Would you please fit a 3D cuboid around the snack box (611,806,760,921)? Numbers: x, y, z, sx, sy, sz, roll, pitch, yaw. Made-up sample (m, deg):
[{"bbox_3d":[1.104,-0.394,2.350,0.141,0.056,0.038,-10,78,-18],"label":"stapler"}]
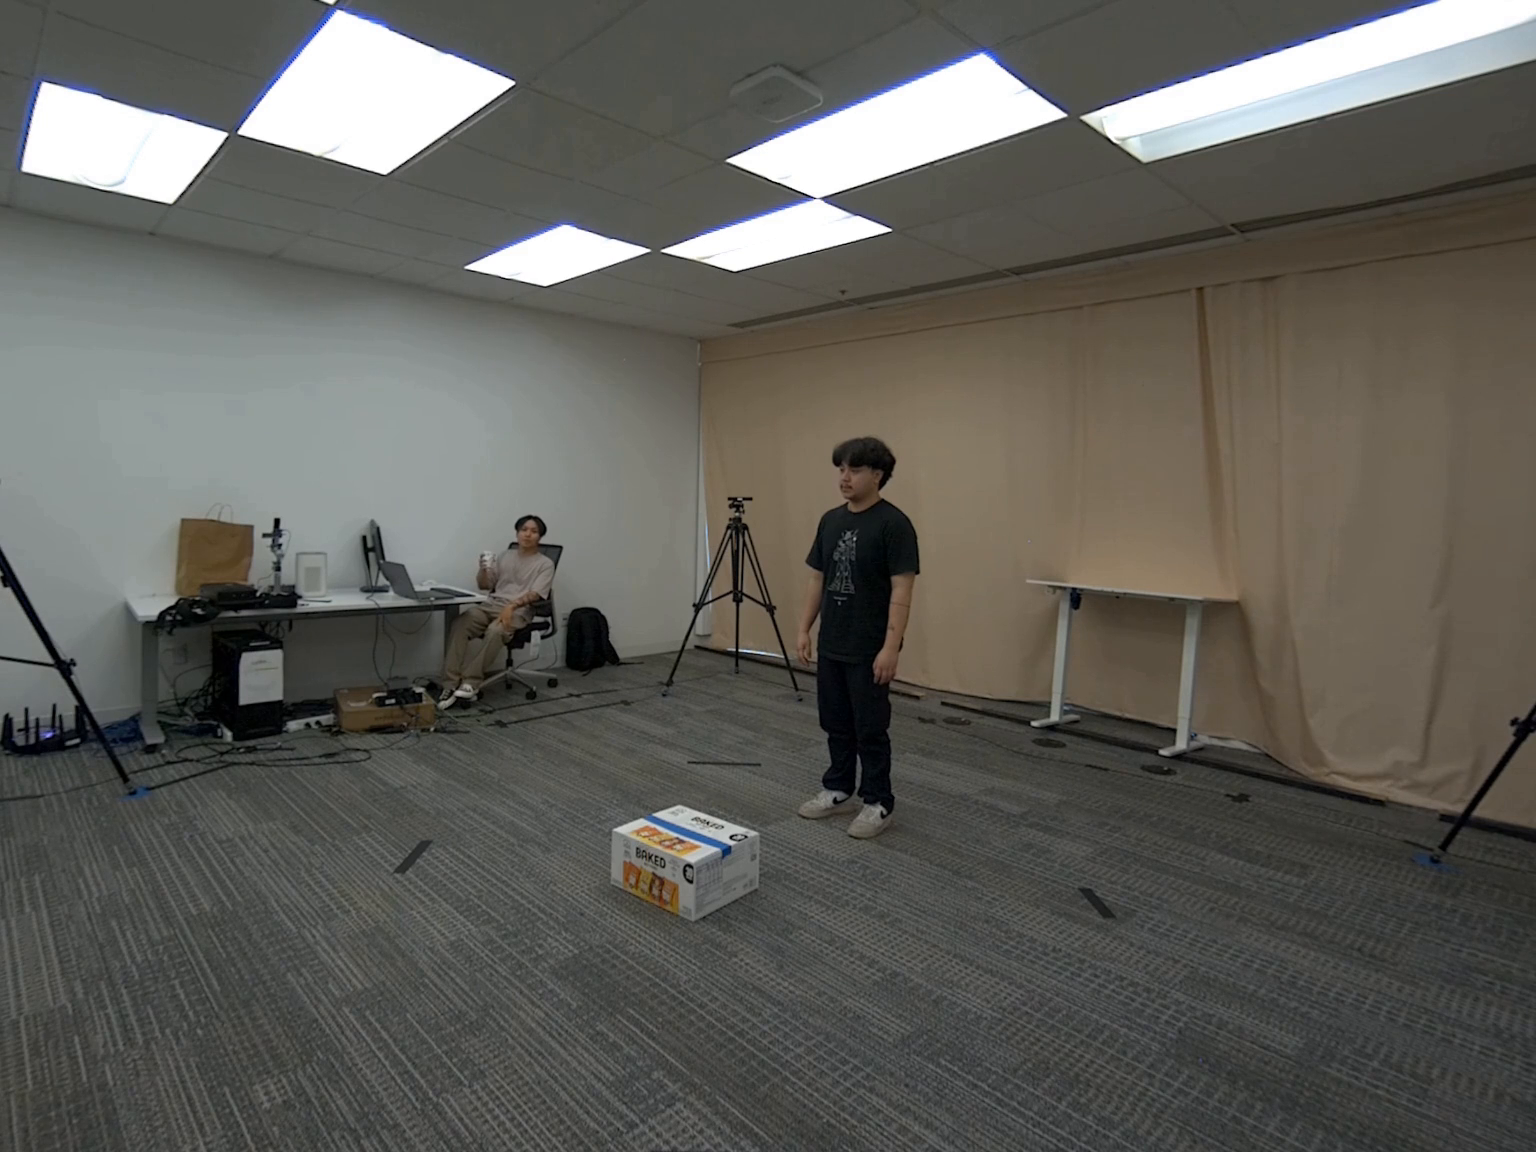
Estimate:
[{"bbox_3d":[-0.301,1.012,3.000,0.415,0.205,0.333,5,6,39],"label":"snack box"}]
